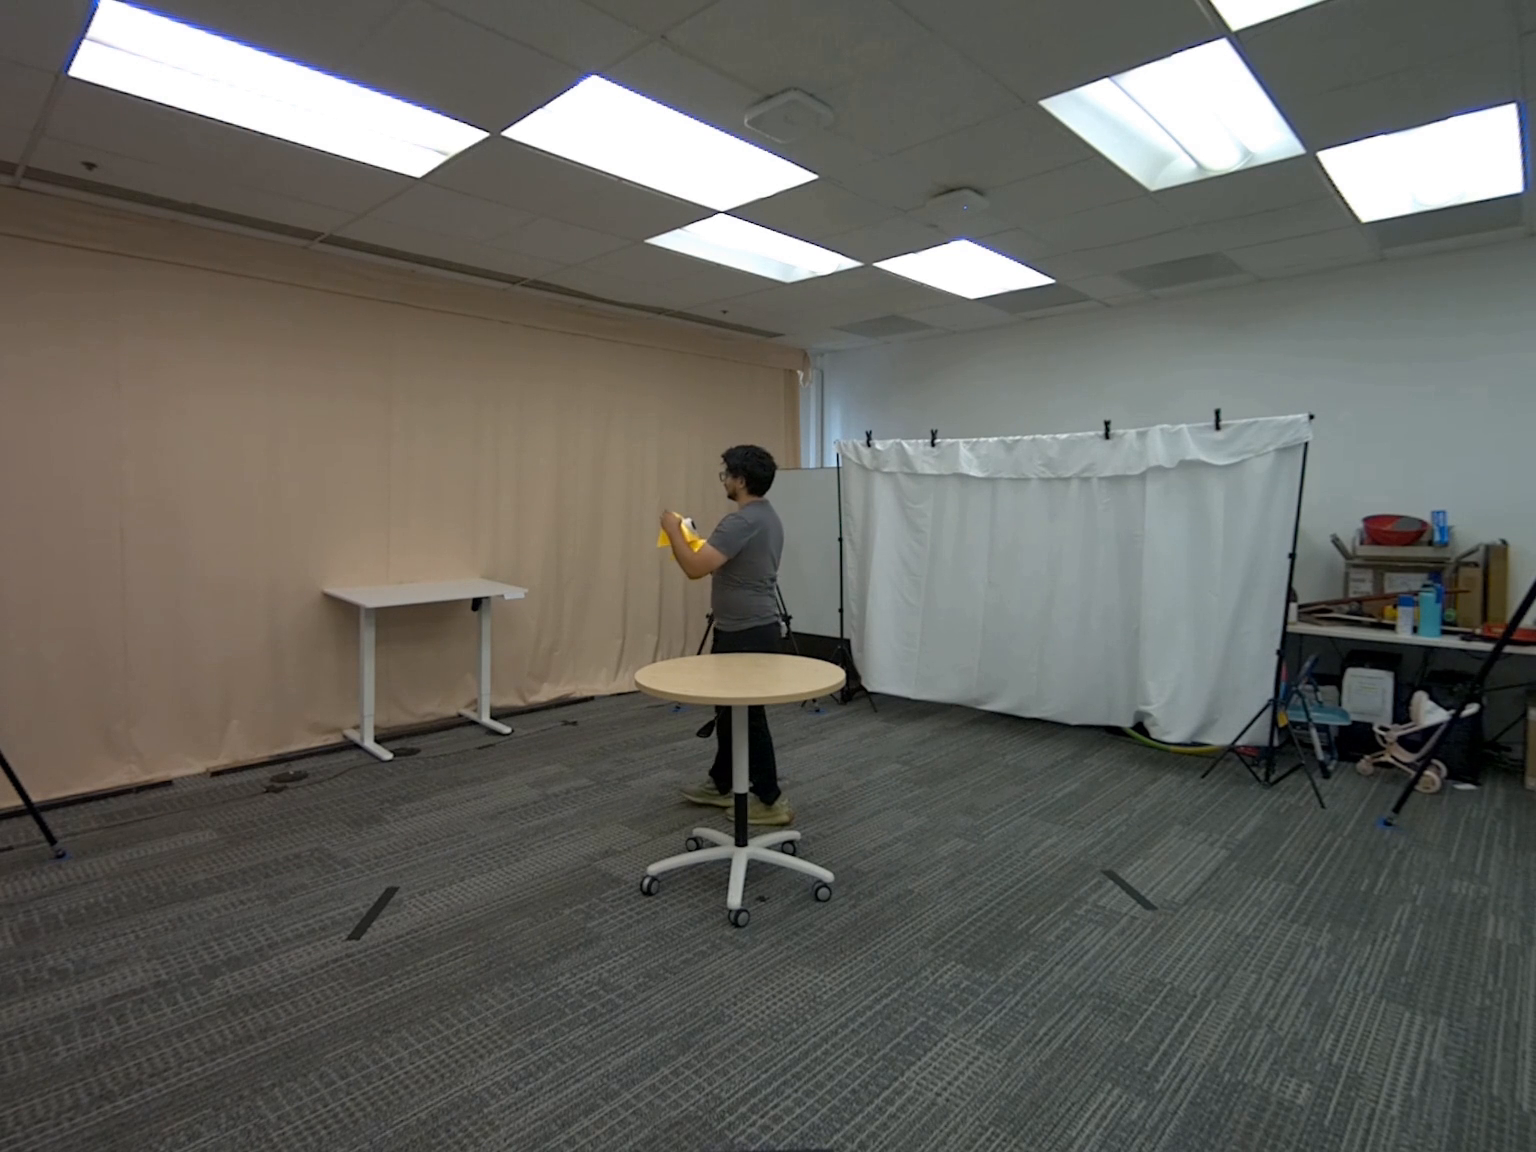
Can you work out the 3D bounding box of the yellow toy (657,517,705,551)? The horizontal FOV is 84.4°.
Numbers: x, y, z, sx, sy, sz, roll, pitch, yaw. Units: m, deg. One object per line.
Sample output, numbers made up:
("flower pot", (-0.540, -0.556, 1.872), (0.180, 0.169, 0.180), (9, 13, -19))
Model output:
("yellow toy", (-0.385, -0.201, 3.822), (0.211, 0.229, 0.189), (-8, 11, 42))
